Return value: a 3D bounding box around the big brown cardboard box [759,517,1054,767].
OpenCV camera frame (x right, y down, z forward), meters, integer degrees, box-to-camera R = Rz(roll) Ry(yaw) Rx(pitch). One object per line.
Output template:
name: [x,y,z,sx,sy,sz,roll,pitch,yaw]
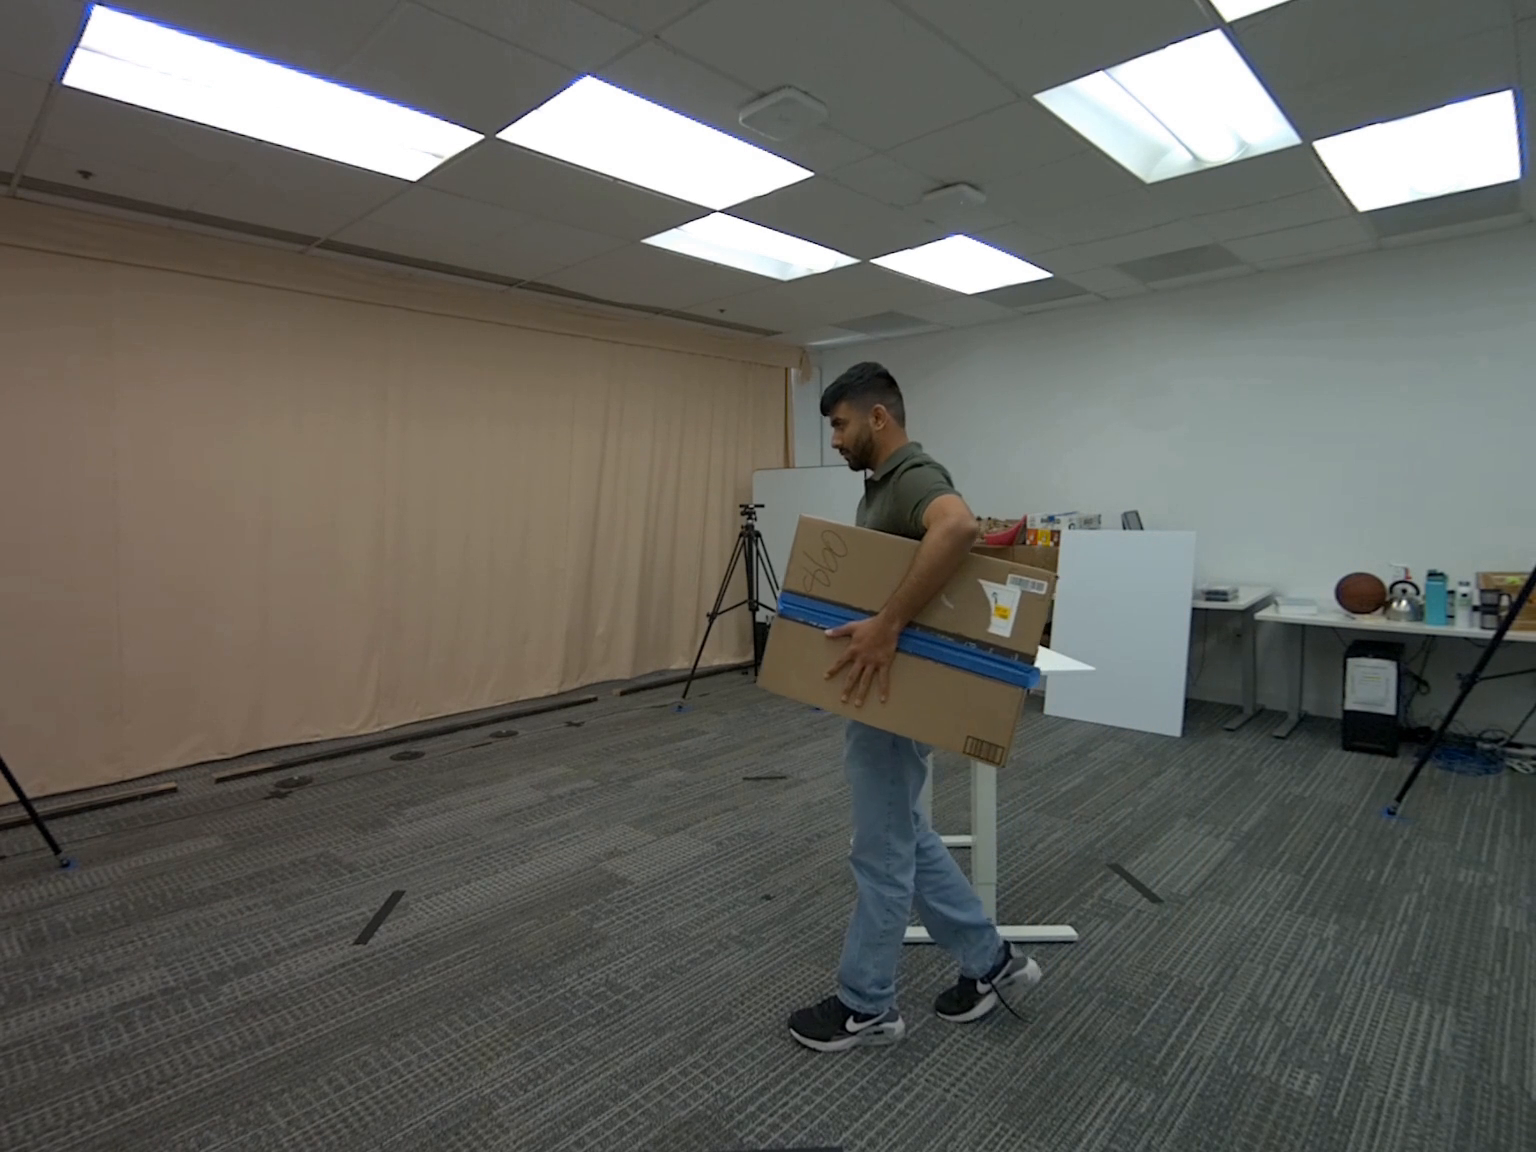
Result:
big brown cardboard box: [0.331,0.125,1.908,0.605,0.417,0.227,12,4,24]
